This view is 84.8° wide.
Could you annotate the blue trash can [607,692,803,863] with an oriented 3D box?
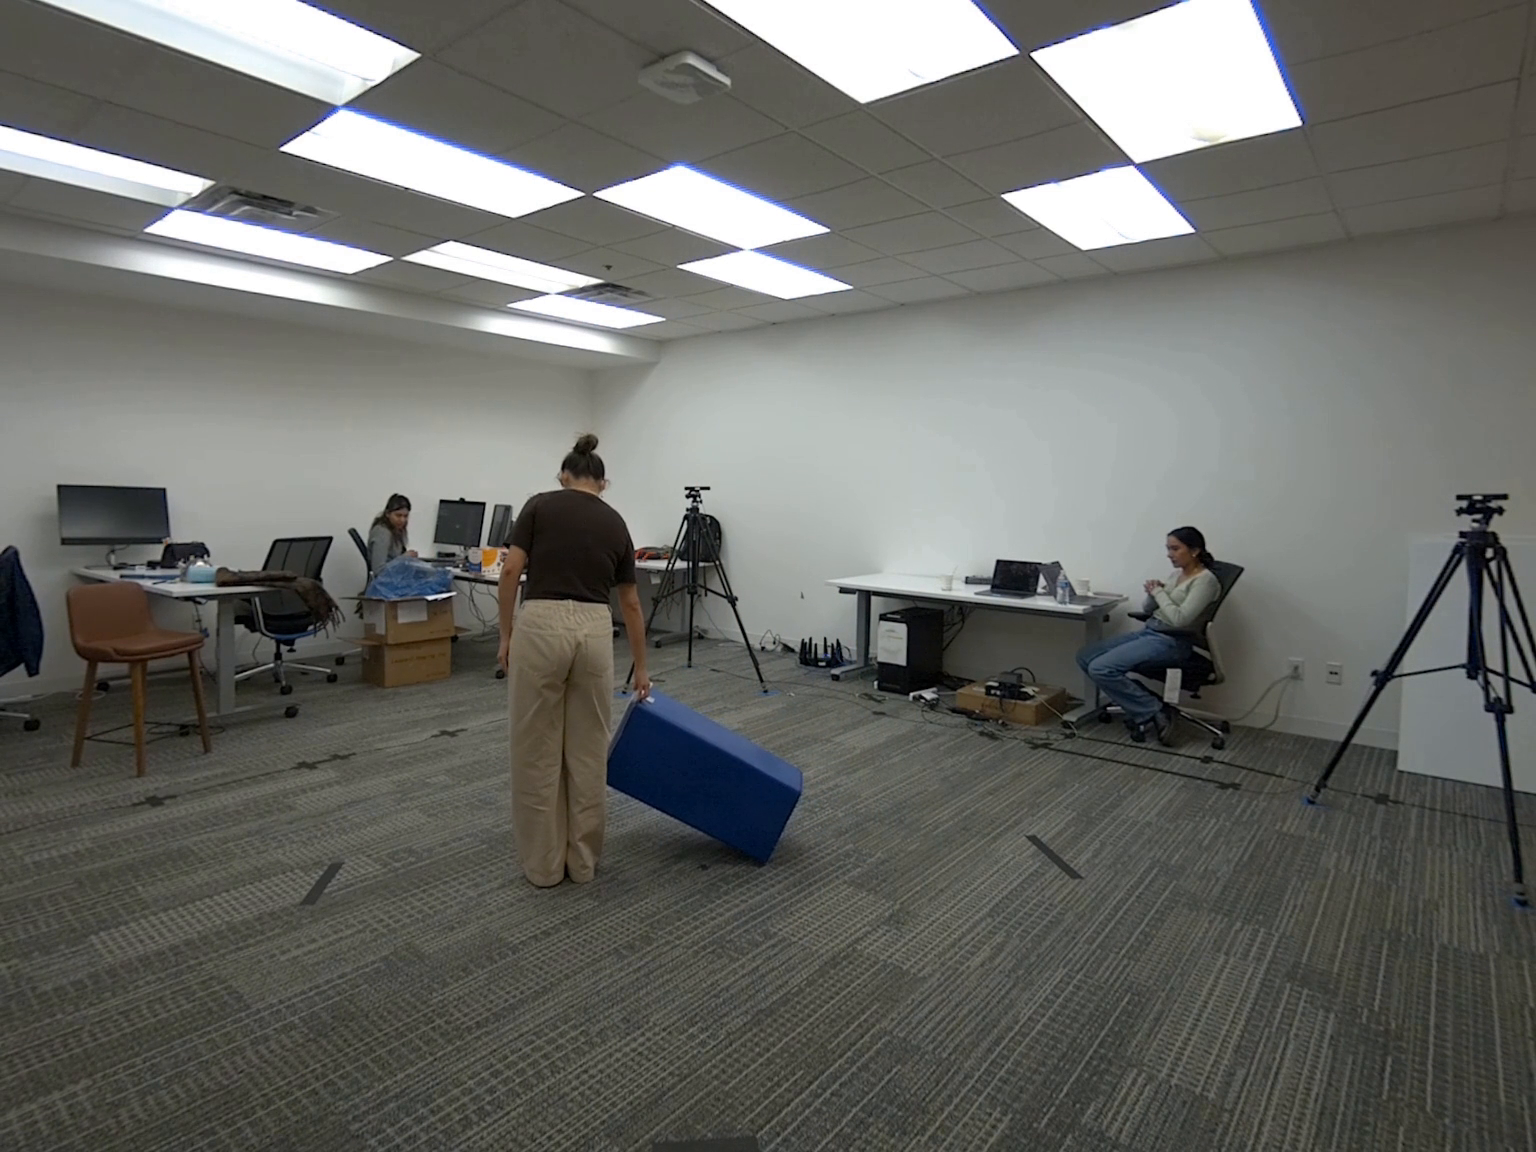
[{"bbox_3d":[-0.266,0.753,3.295,0.718,0.374,0.376,27,2,4],"label":"blue trash can"}]
